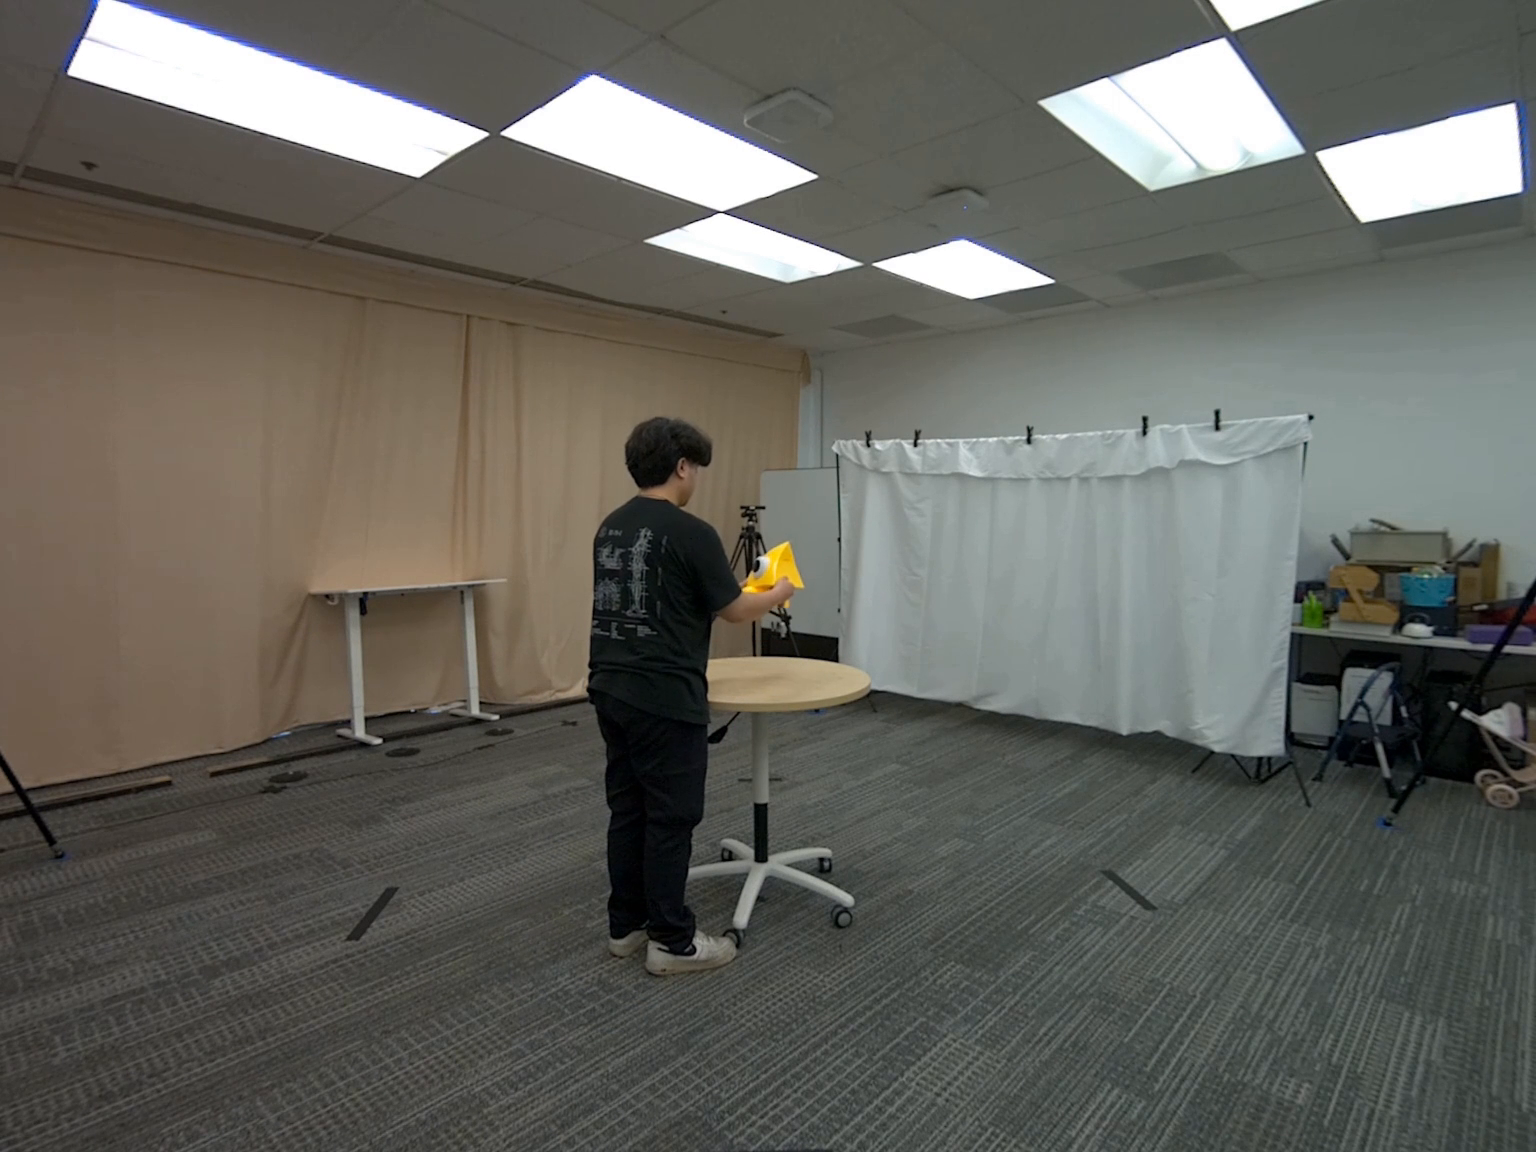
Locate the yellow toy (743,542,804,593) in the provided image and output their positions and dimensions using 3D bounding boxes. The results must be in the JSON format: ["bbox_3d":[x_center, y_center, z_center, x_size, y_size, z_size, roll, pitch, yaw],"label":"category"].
[{"bbox_3d":[0.008,-0.003,2.931,0.199,0.230,0.198,8,2,34],"label":"yellow toy"}]
